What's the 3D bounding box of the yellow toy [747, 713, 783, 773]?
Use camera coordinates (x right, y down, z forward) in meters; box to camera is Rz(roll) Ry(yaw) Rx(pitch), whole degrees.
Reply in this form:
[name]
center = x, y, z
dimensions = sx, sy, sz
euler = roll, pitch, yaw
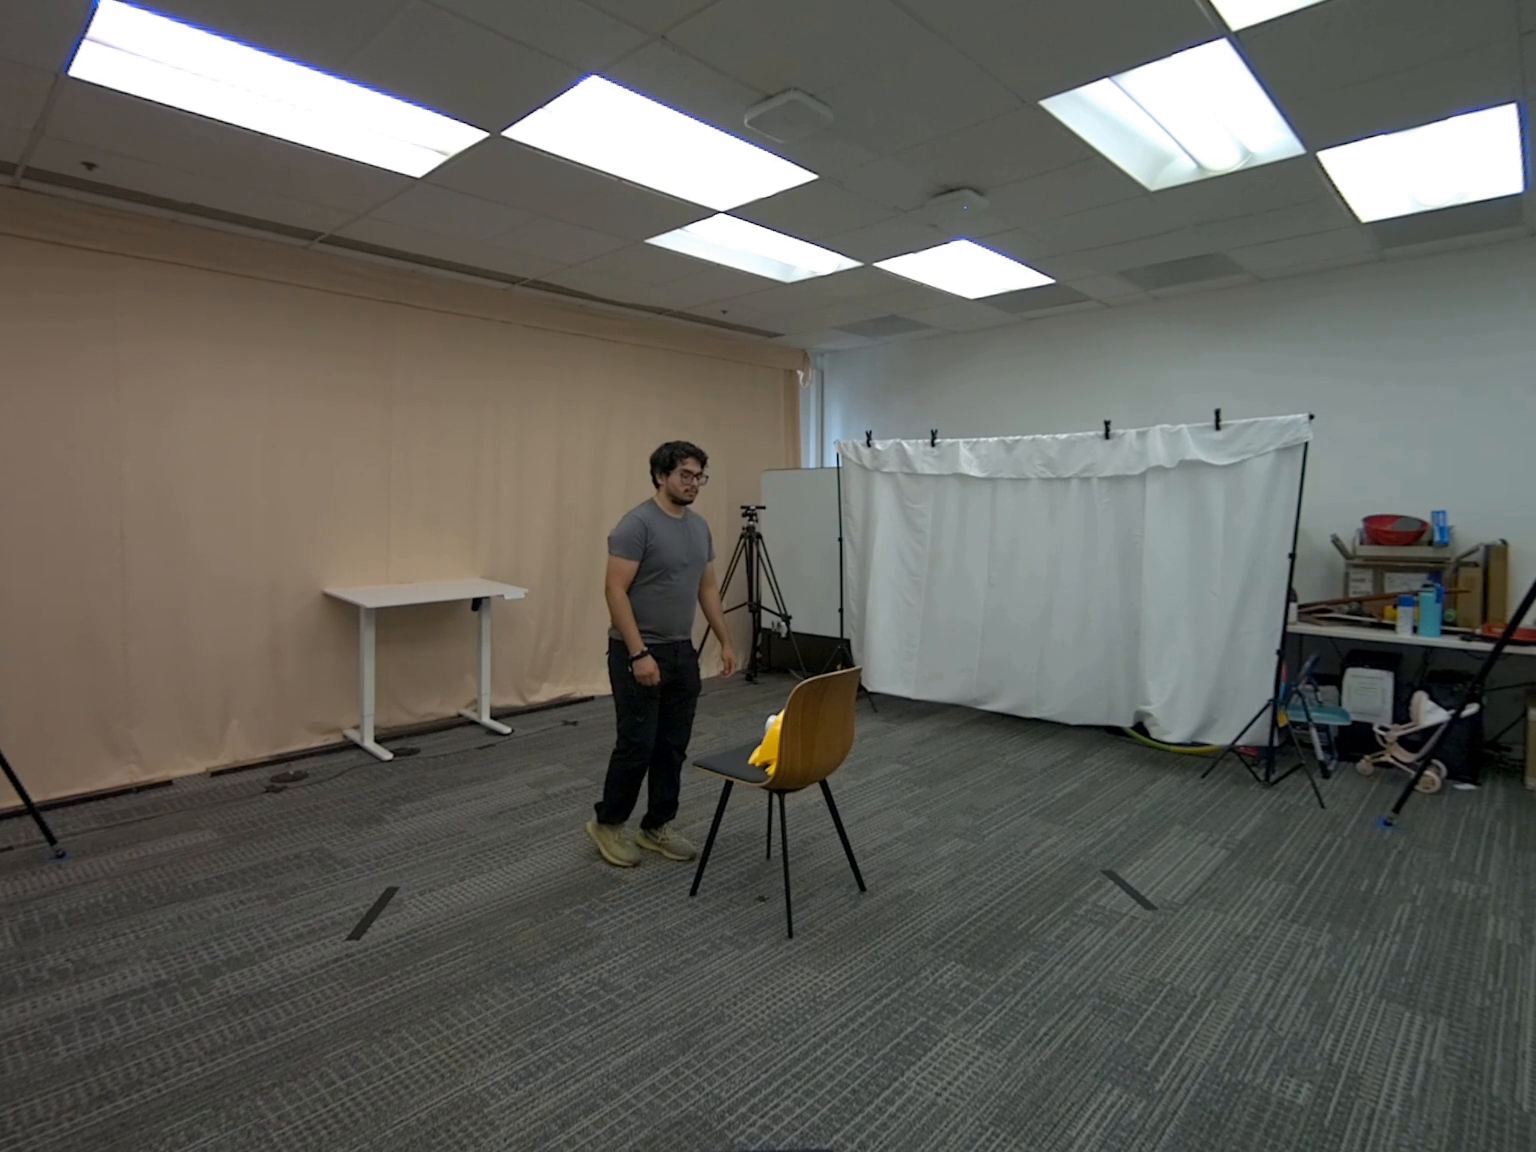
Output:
[yellow toy]
center = 0.052, 0.558, 2.957
dimensions = 0.188, 0.230, 0.211
euler = -2, 7, -32
